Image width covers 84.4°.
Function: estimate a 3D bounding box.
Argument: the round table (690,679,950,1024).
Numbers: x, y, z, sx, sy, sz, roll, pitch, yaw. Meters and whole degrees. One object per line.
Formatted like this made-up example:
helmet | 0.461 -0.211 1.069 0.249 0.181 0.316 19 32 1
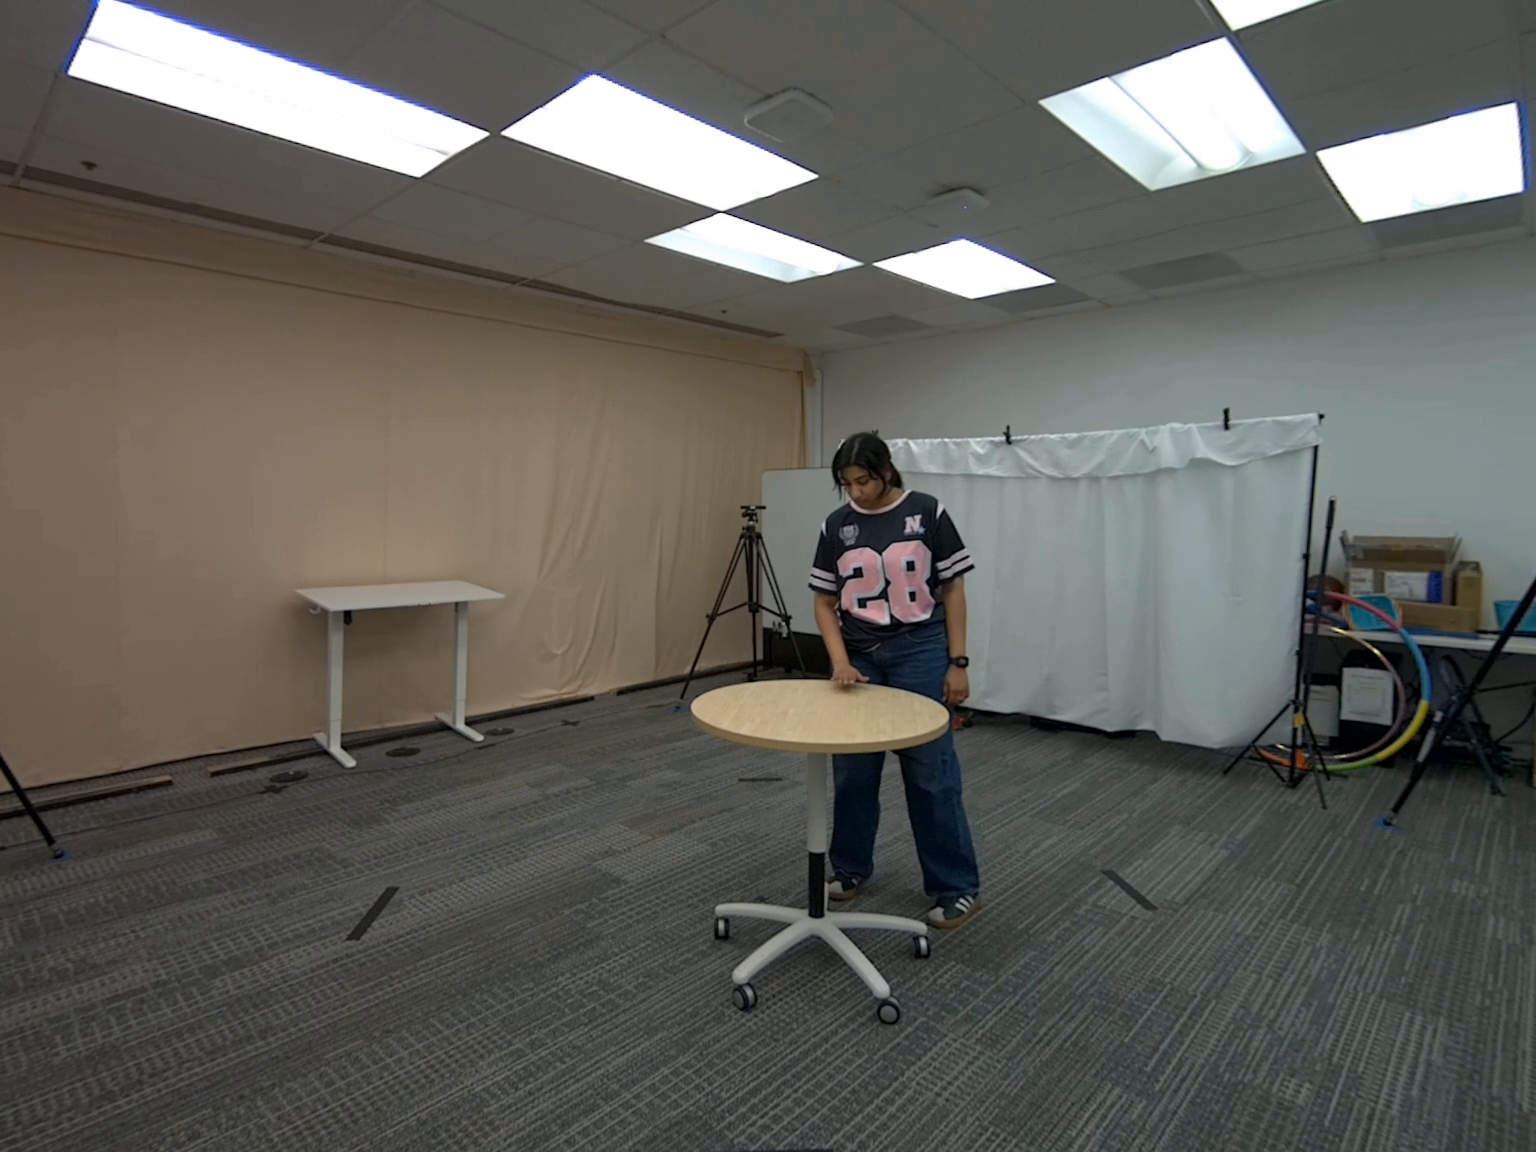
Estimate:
round table | 0.164 0.787 2.553 0.784 0.784 0.788 0 4 -2
